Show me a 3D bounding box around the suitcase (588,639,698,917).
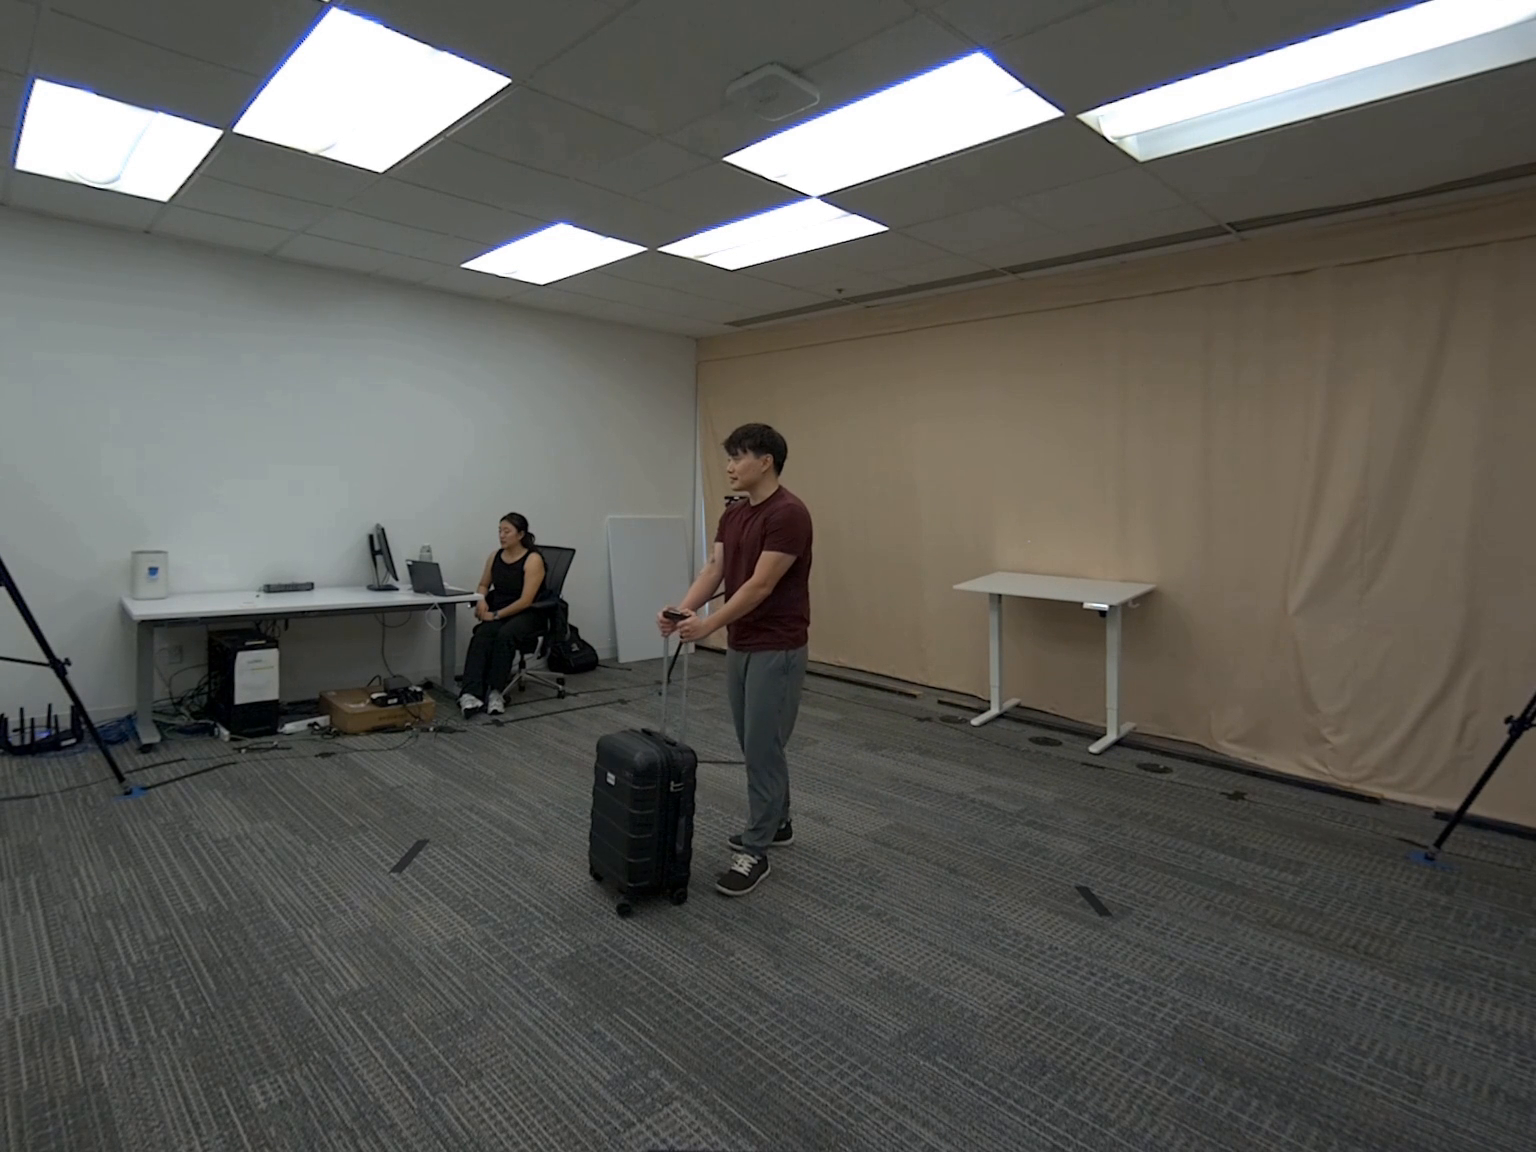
[{"bbox_3d":[-0.442,0.633,2.940,0.251,0.977,0.393,1,2,-34],"label":"suitcase"}]
